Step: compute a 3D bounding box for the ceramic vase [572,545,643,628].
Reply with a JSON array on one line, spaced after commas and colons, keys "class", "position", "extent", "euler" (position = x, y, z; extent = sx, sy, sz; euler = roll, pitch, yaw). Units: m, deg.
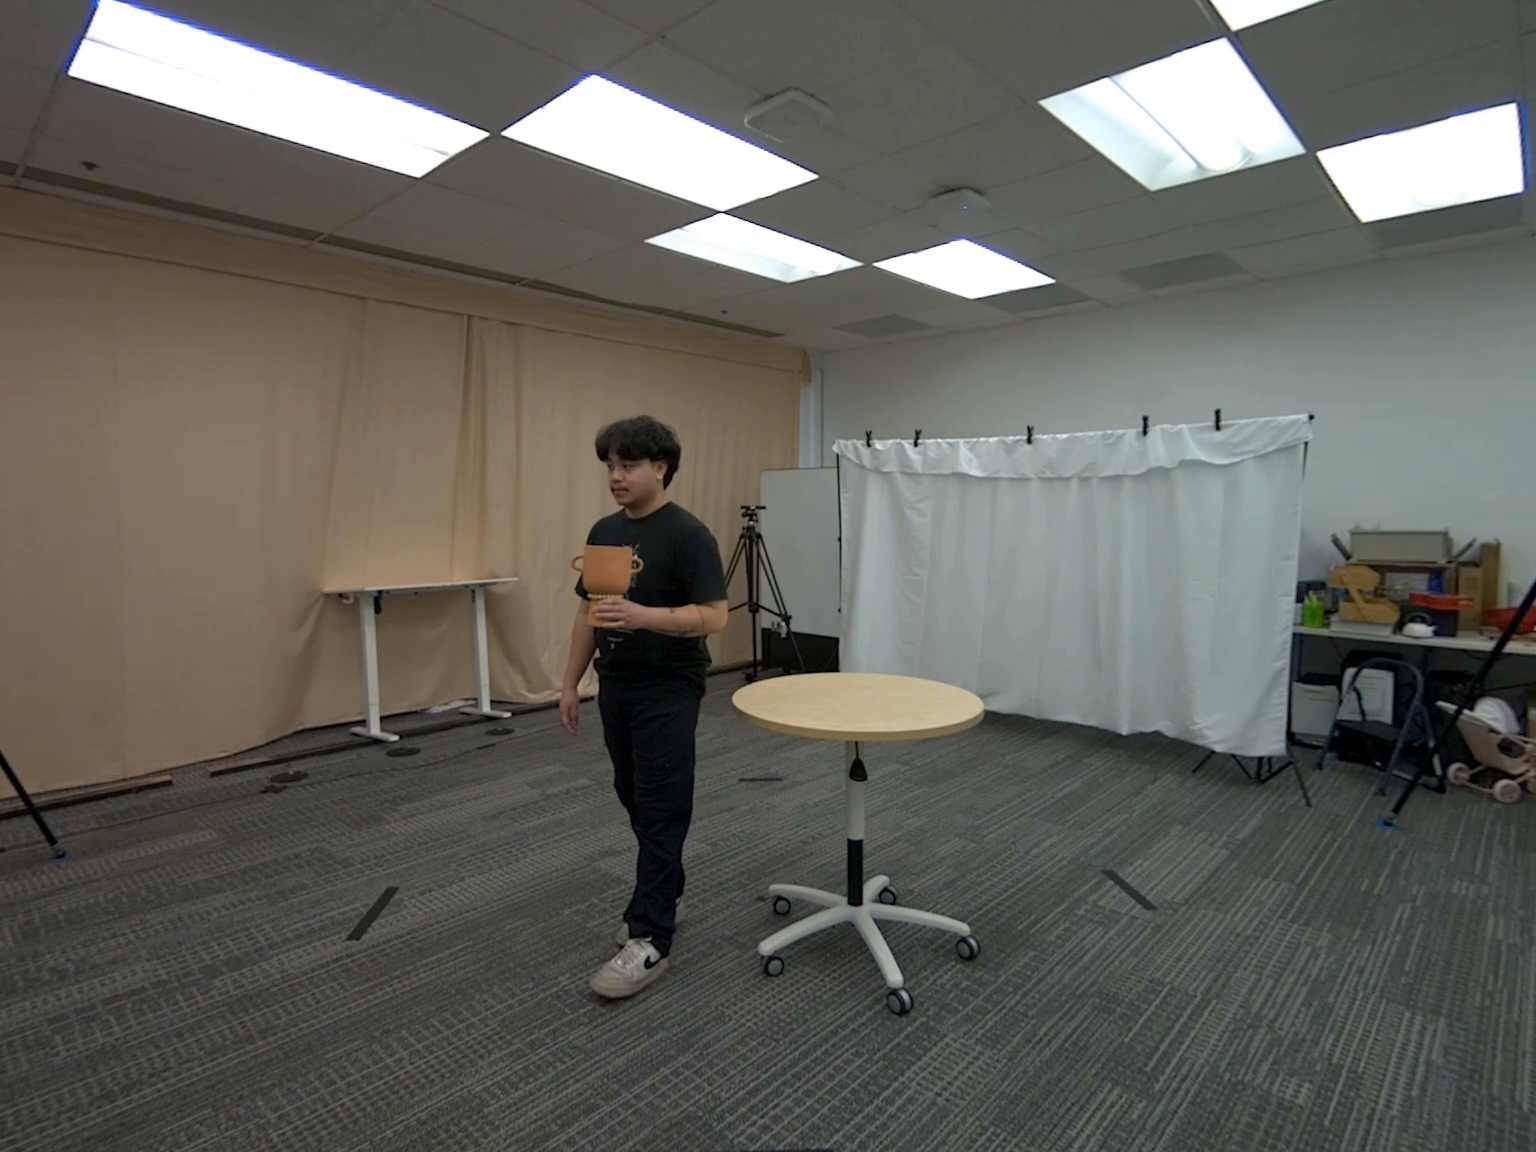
[{"class": "ceramic vase", "position": [-0.445, 0.026, 2.340], "extent": [0.164, 0.220, 0.130], "euler": [2, 0, 35]}]
